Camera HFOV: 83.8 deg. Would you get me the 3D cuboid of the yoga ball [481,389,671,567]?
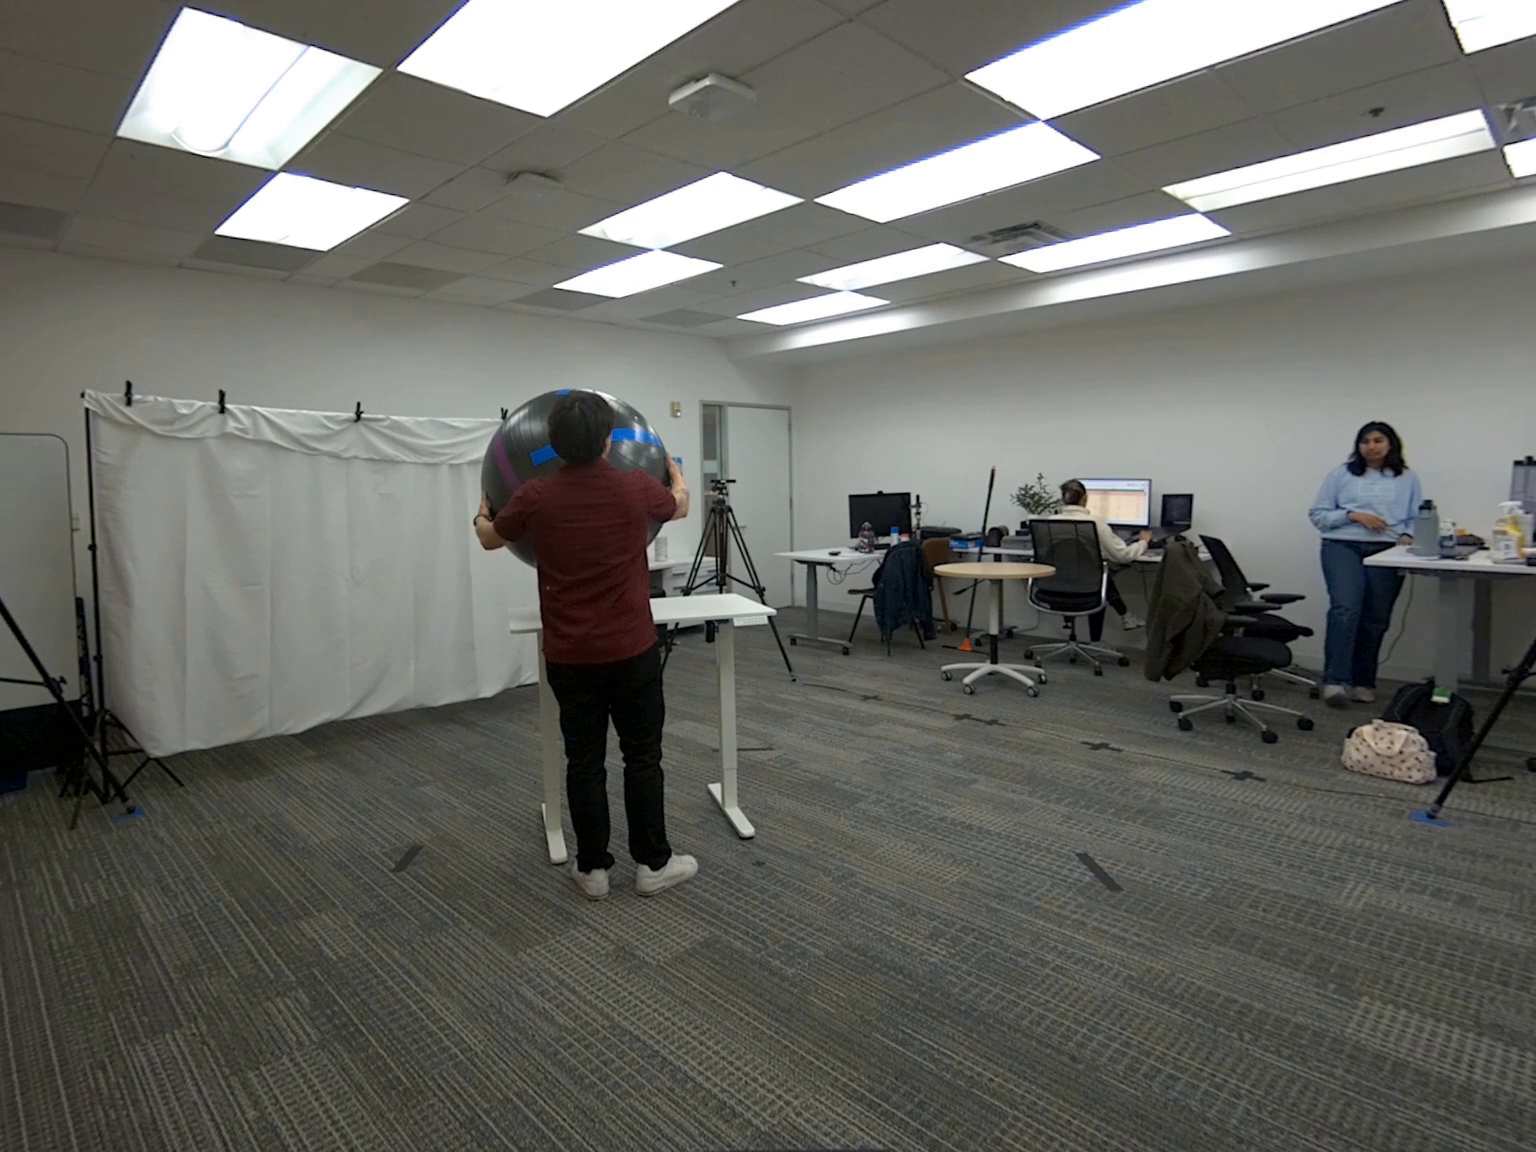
[{"bbox_3d":[-0.776,-0.365,3.451,0.757,0.755,0.762,-1,5,-2],"label":"yoga ball"}]
